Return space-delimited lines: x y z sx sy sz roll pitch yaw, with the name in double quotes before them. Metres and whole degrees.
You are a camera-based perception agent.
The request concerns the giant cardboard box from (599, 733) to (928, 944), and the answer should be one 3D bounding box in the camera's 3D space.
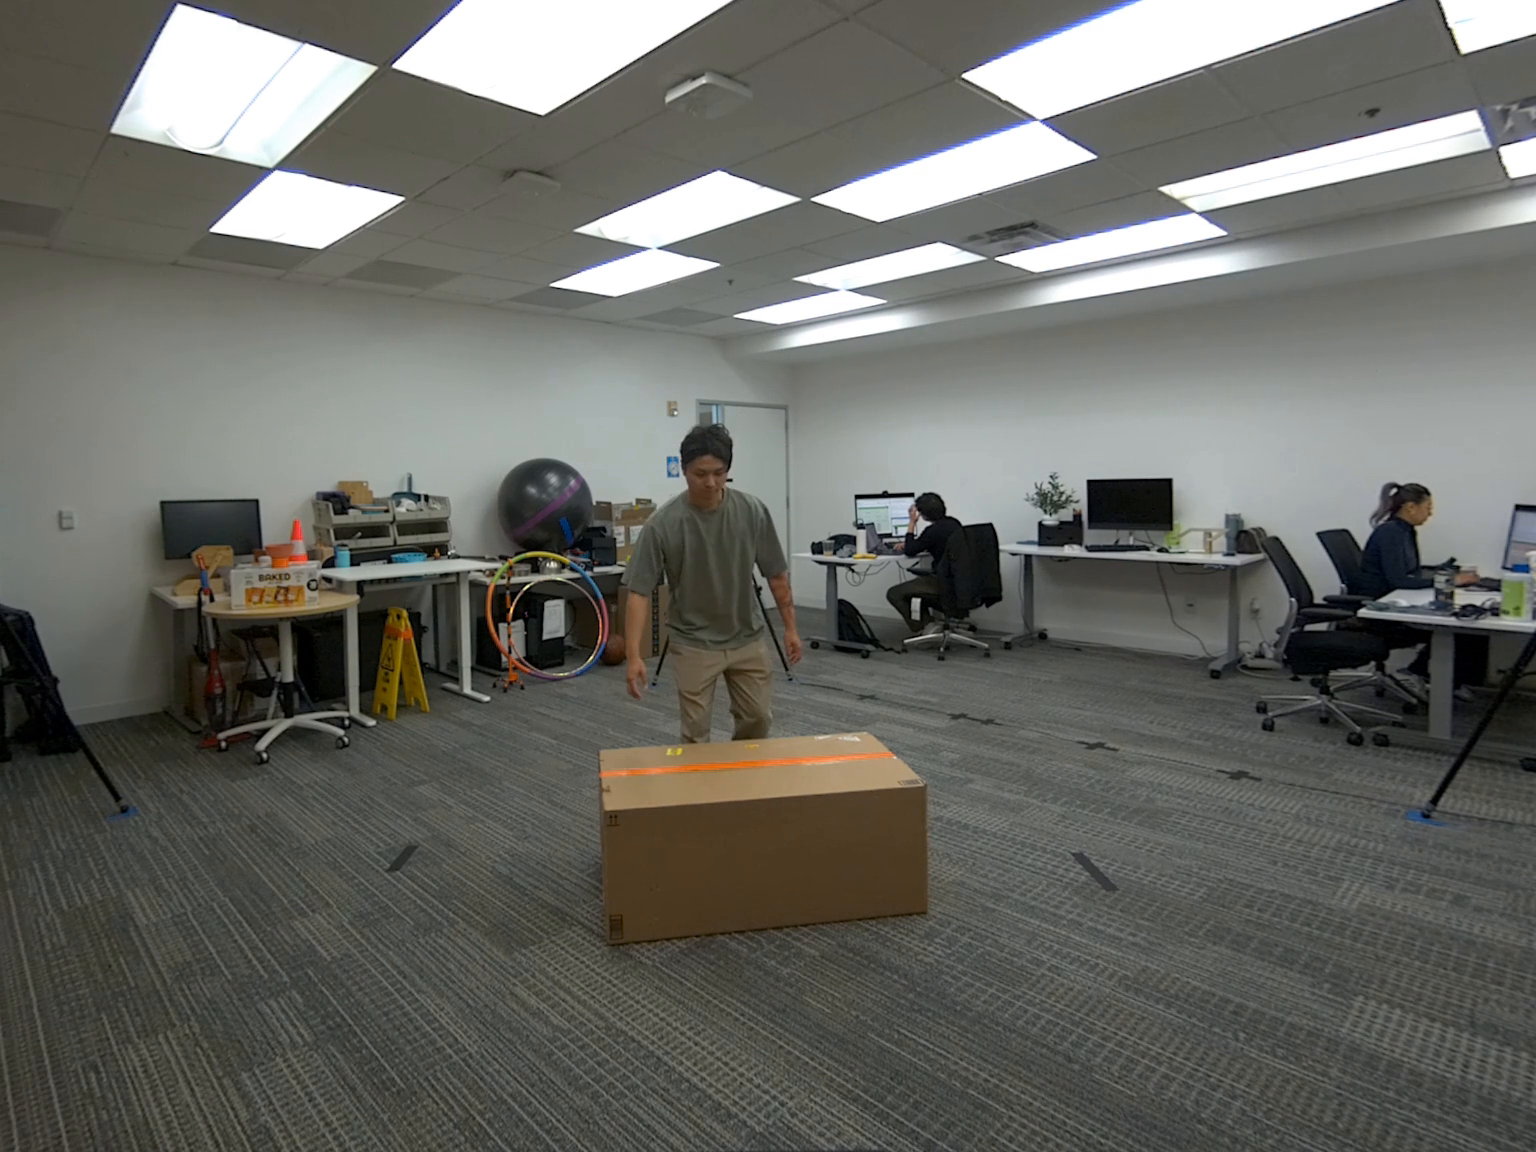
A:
"giant cardboard box" -0.050 0.848 2.911 1.016 0.424 0.585 -2 5 -10
